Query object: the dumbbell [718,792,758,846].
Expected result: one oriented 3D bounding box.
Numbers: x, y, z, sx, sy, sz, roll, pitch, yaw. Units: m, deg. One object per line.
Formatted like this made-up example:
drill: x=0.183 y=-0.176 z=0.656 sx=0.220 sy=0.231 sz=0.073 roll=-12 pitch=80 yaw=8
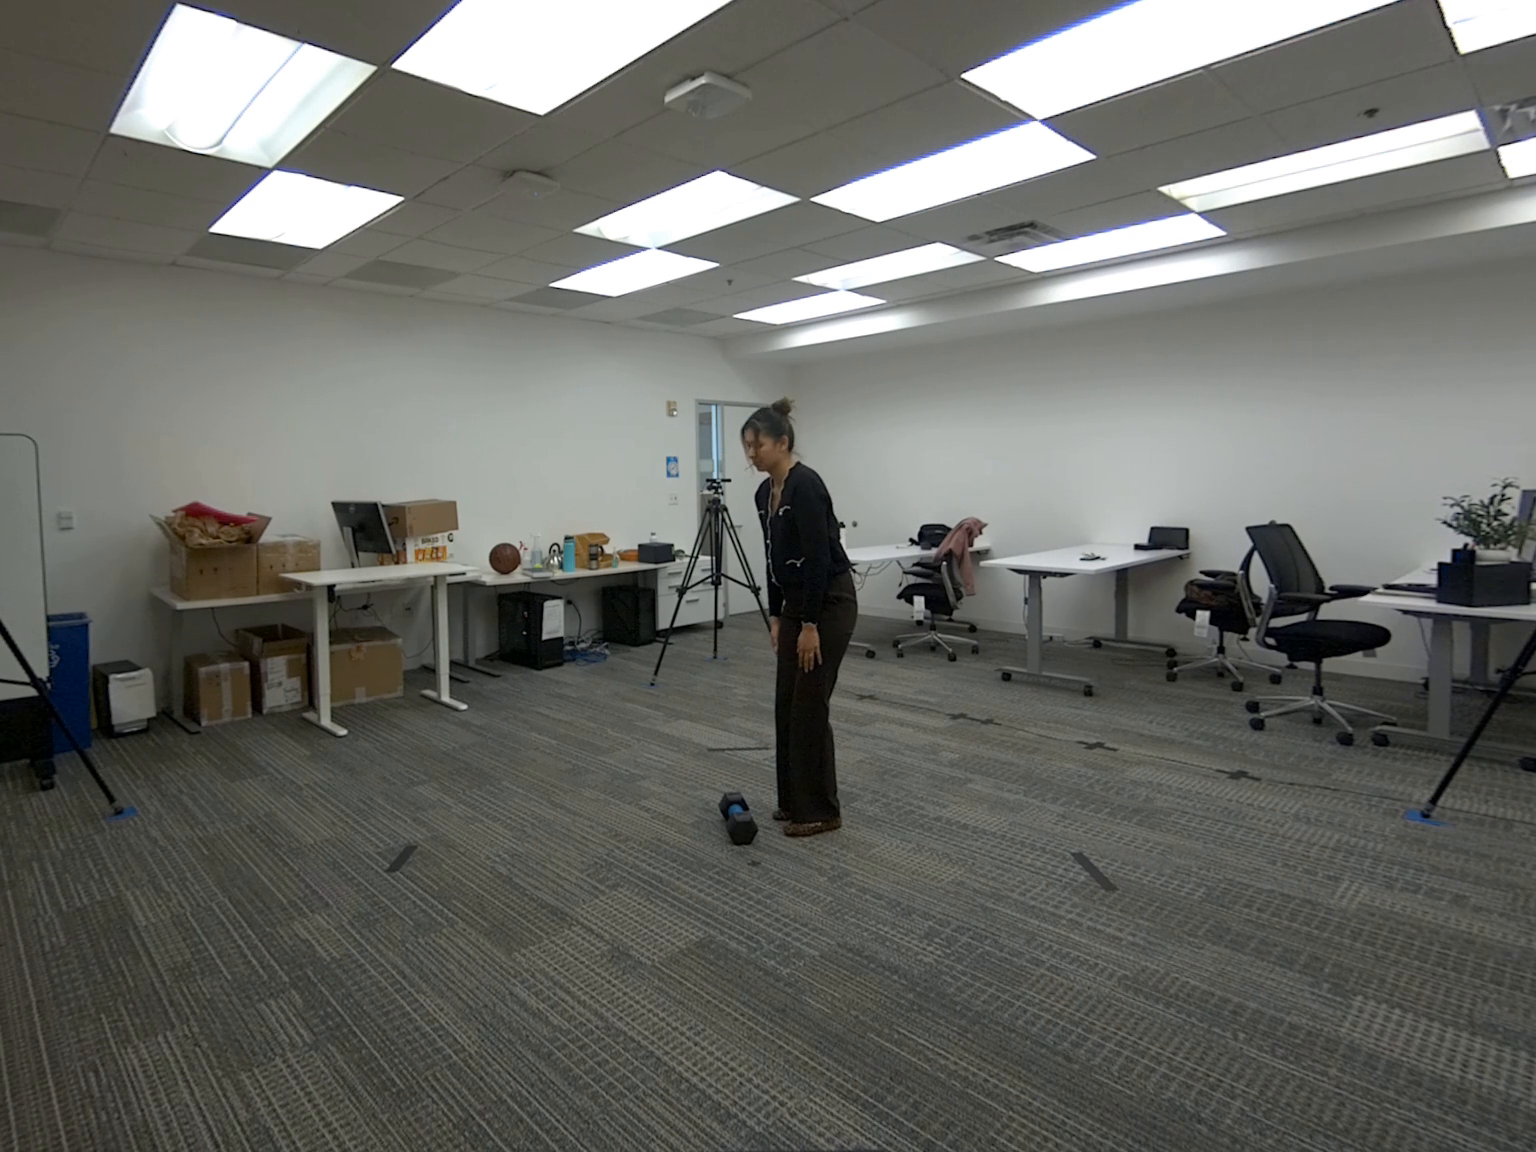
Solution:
dumbbell: x=-0.116 y=0.960 z=3.398 sx=0.108 sy=0.121 sz=0.297 roll=-32 pitch=10 yaw=-6
